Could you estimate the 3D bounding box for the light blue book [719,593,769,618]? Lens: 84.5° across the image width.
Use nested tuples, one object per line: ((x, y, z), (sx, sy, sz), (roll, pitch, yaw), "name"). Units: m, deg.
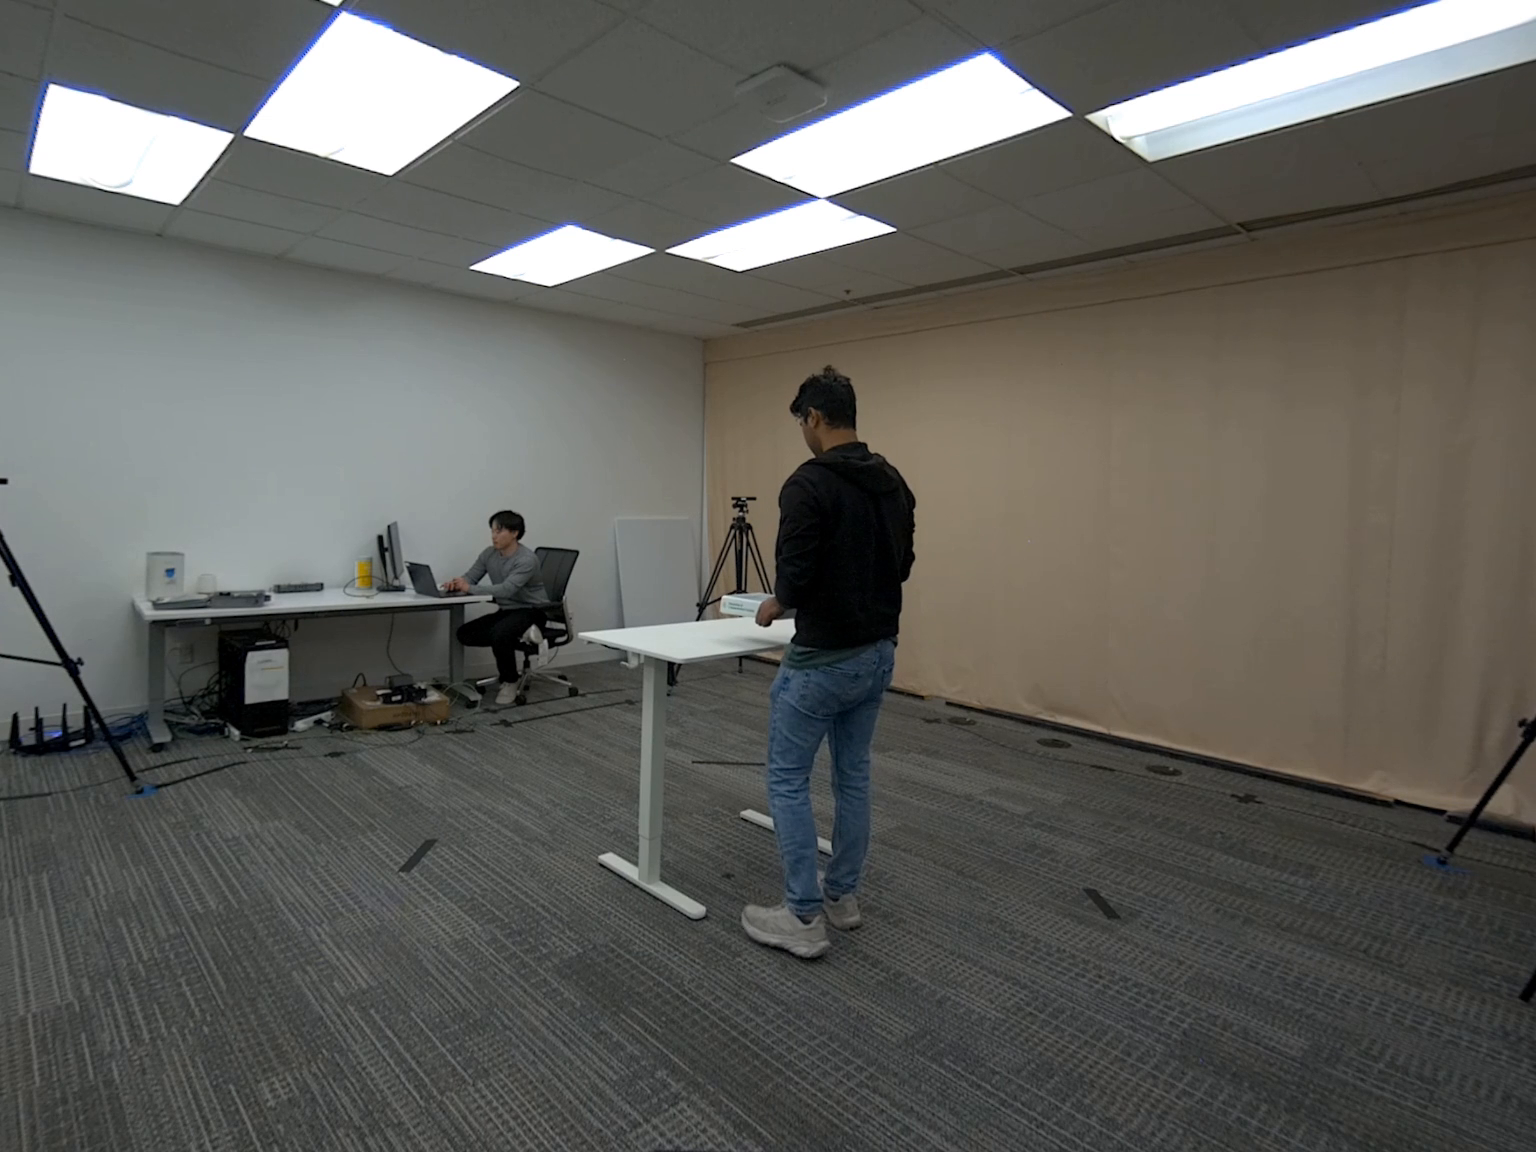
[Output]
((-0.023, 0.109, 2.995), (0.268, 0.059, 0.187), (6, 7, 41), "light blue book")
